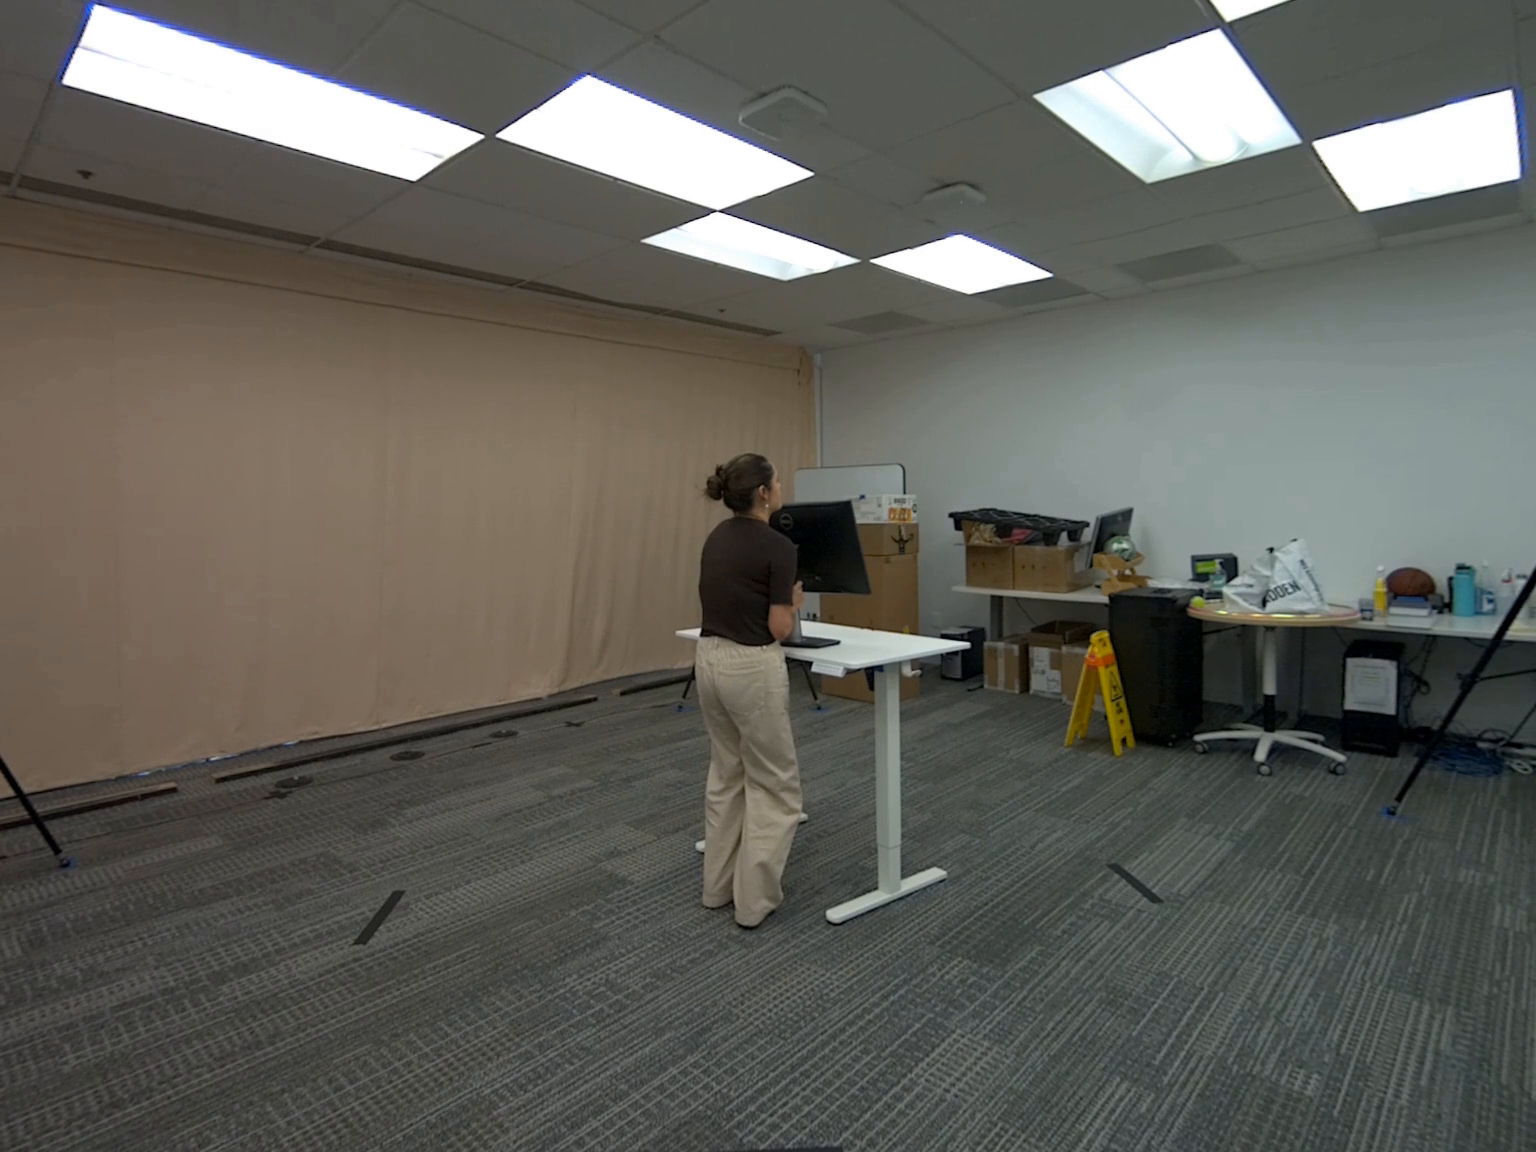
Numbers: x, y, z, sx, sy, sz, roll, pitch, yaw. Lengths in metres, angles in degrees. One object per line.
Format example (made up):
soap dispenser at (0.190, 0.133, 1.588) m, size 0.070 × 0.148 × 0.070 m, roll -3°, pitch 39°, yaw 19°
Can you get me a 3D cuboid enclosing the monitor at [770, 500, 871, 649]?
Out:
monitor at (0.100, -0.006, 3.058) m, size 0.556 × 0.521 × 0.182 m, roll -1°, pitch 5°, yaw 37°
